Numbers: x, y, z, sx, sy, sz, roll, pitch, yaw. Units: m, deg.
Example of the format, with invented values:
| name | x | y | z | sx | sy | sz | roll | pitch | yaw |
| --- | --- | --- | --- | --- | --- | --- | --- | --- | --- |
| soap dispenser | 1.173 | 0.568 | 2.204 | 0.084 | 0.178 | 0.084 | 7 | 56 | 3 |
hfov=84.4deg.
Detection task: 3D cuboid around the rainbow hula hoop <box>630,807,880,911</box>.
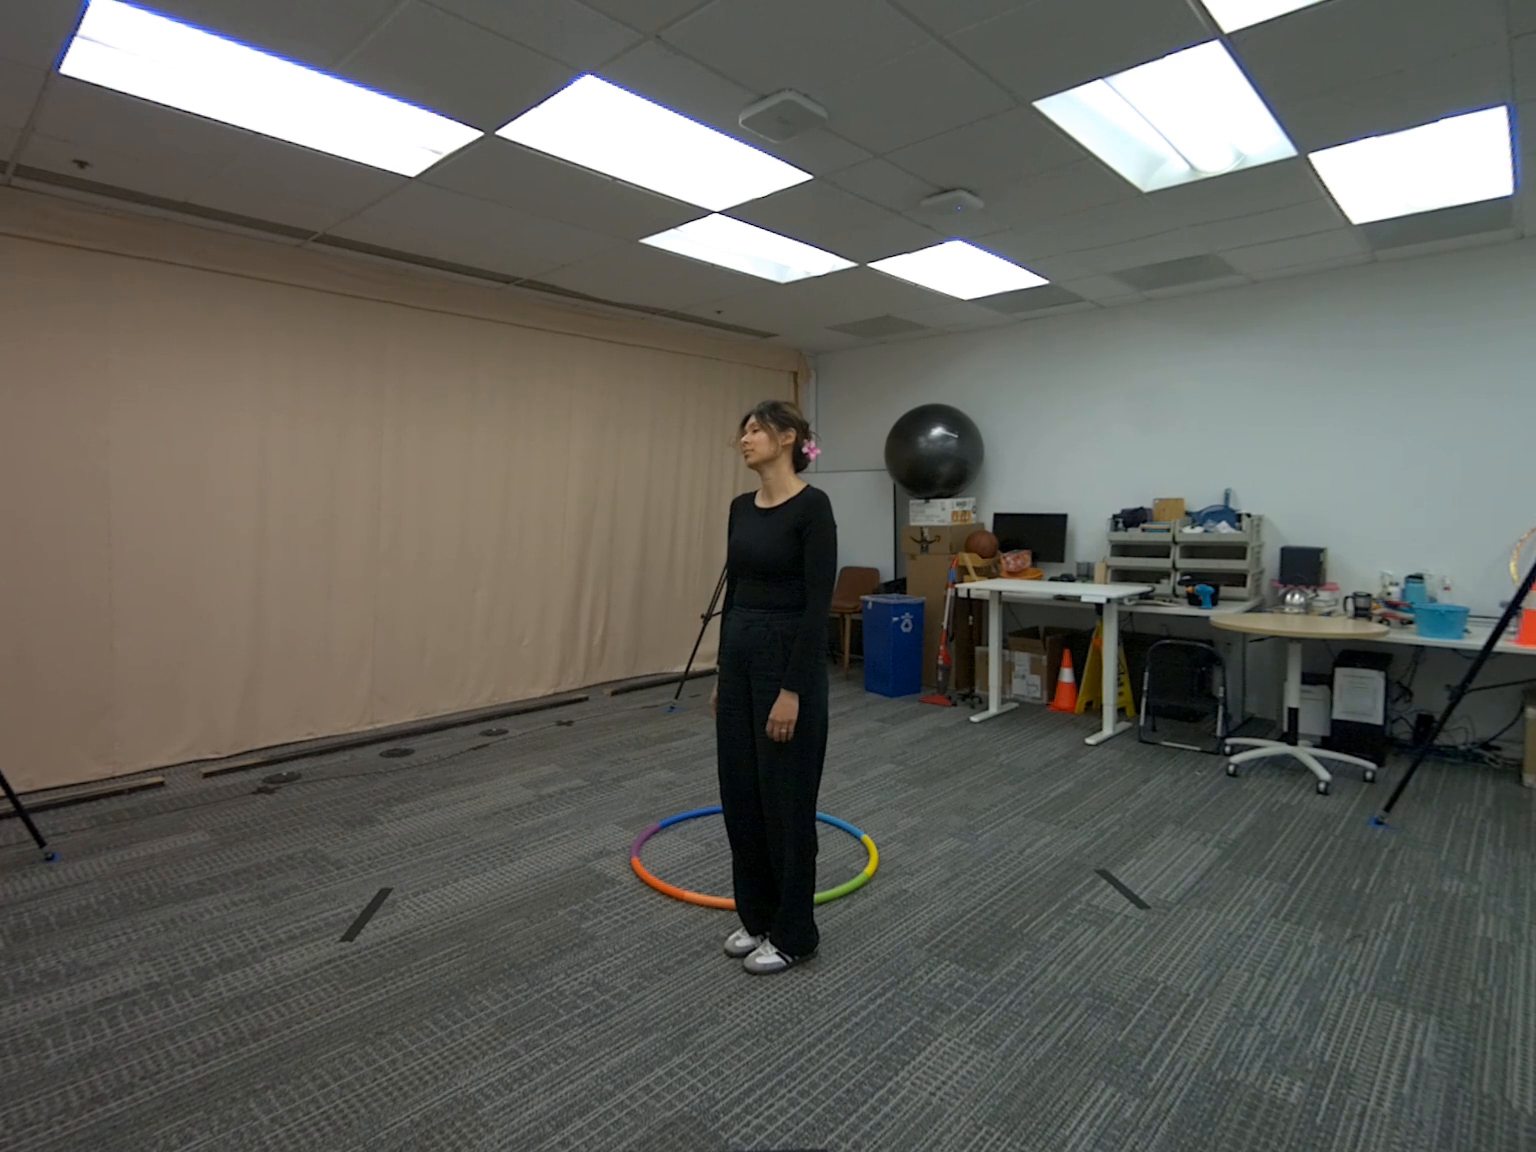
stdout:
| name | x | y | z | sx | sy | sz | roll | pitch | yaw |
| --- | --- | --- | --- | --- | --- | --- | --- | --- | --- |
| rainbow hula hoop | -0.058 | 1.080 | 3.372 | 0.978 | 0.035 | 0.982 | 0 | 5 | -2 |
